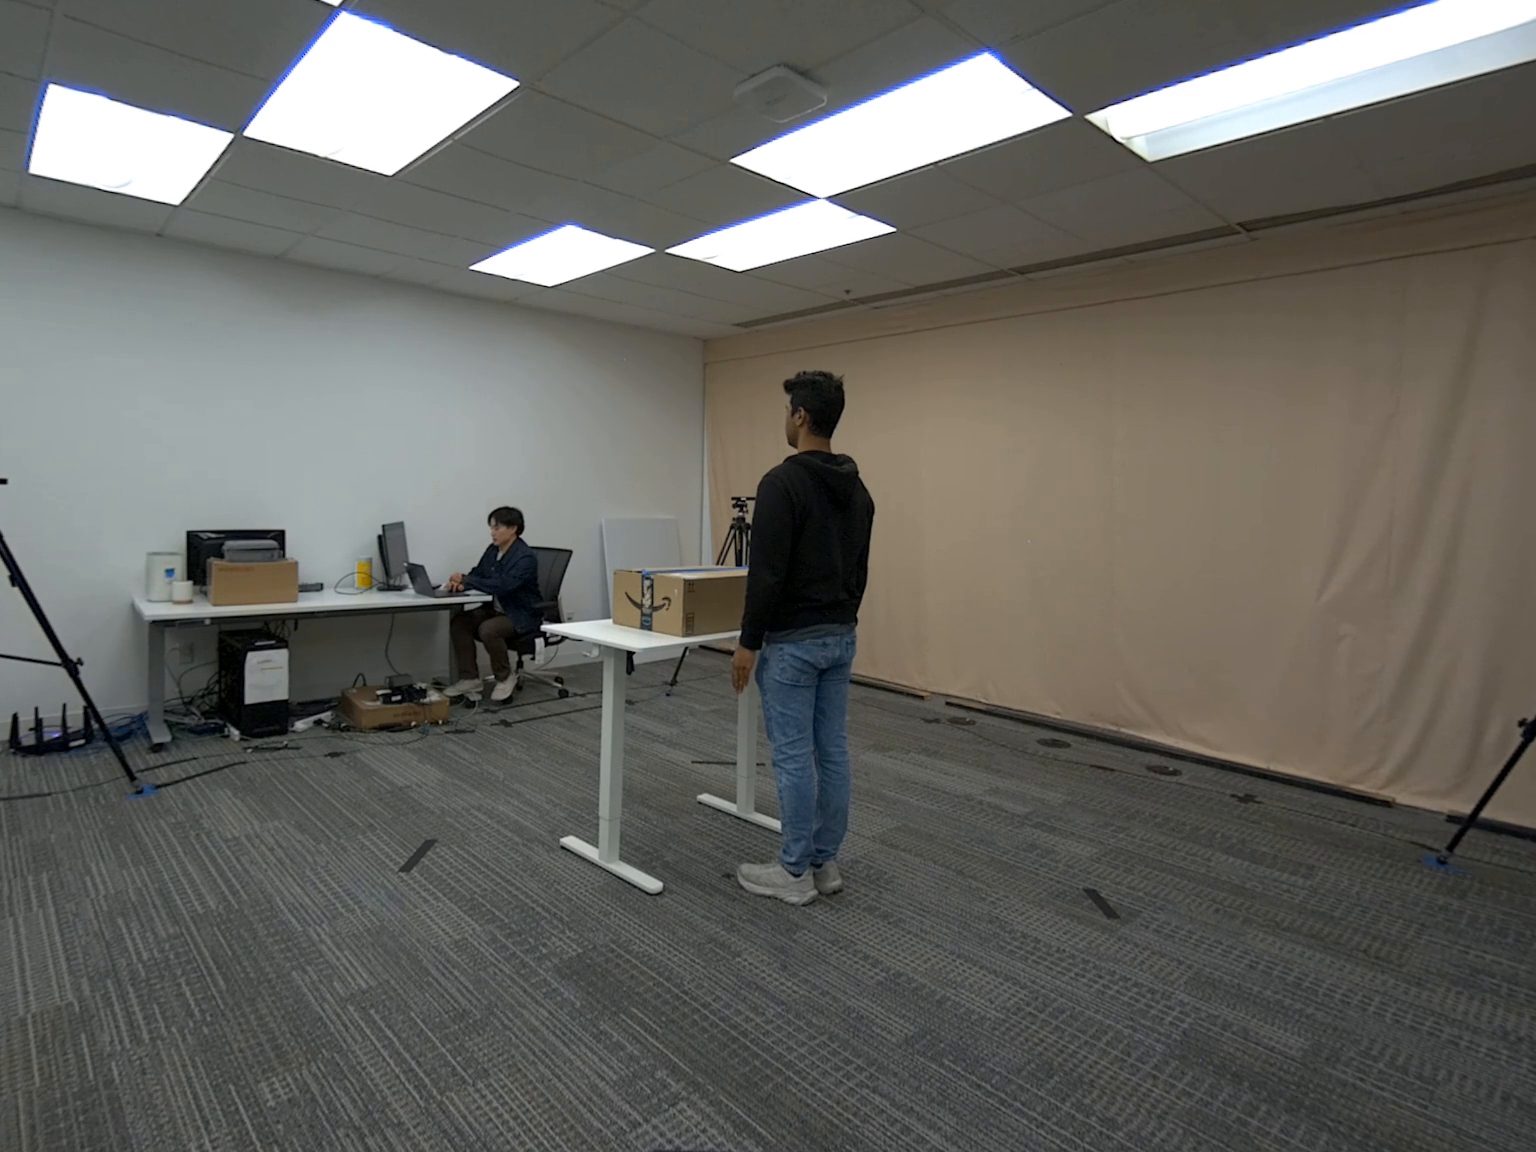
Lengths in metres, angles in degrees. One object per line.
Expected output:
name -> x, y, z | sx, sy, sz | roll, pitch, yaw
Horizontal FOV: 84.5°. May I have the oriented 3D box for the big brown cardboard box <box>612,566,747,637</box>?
big brown cardboard box -> -0.278, 0.086, 3.388 | 0.428, 0.233, 0.575 | 6, 5, 42
